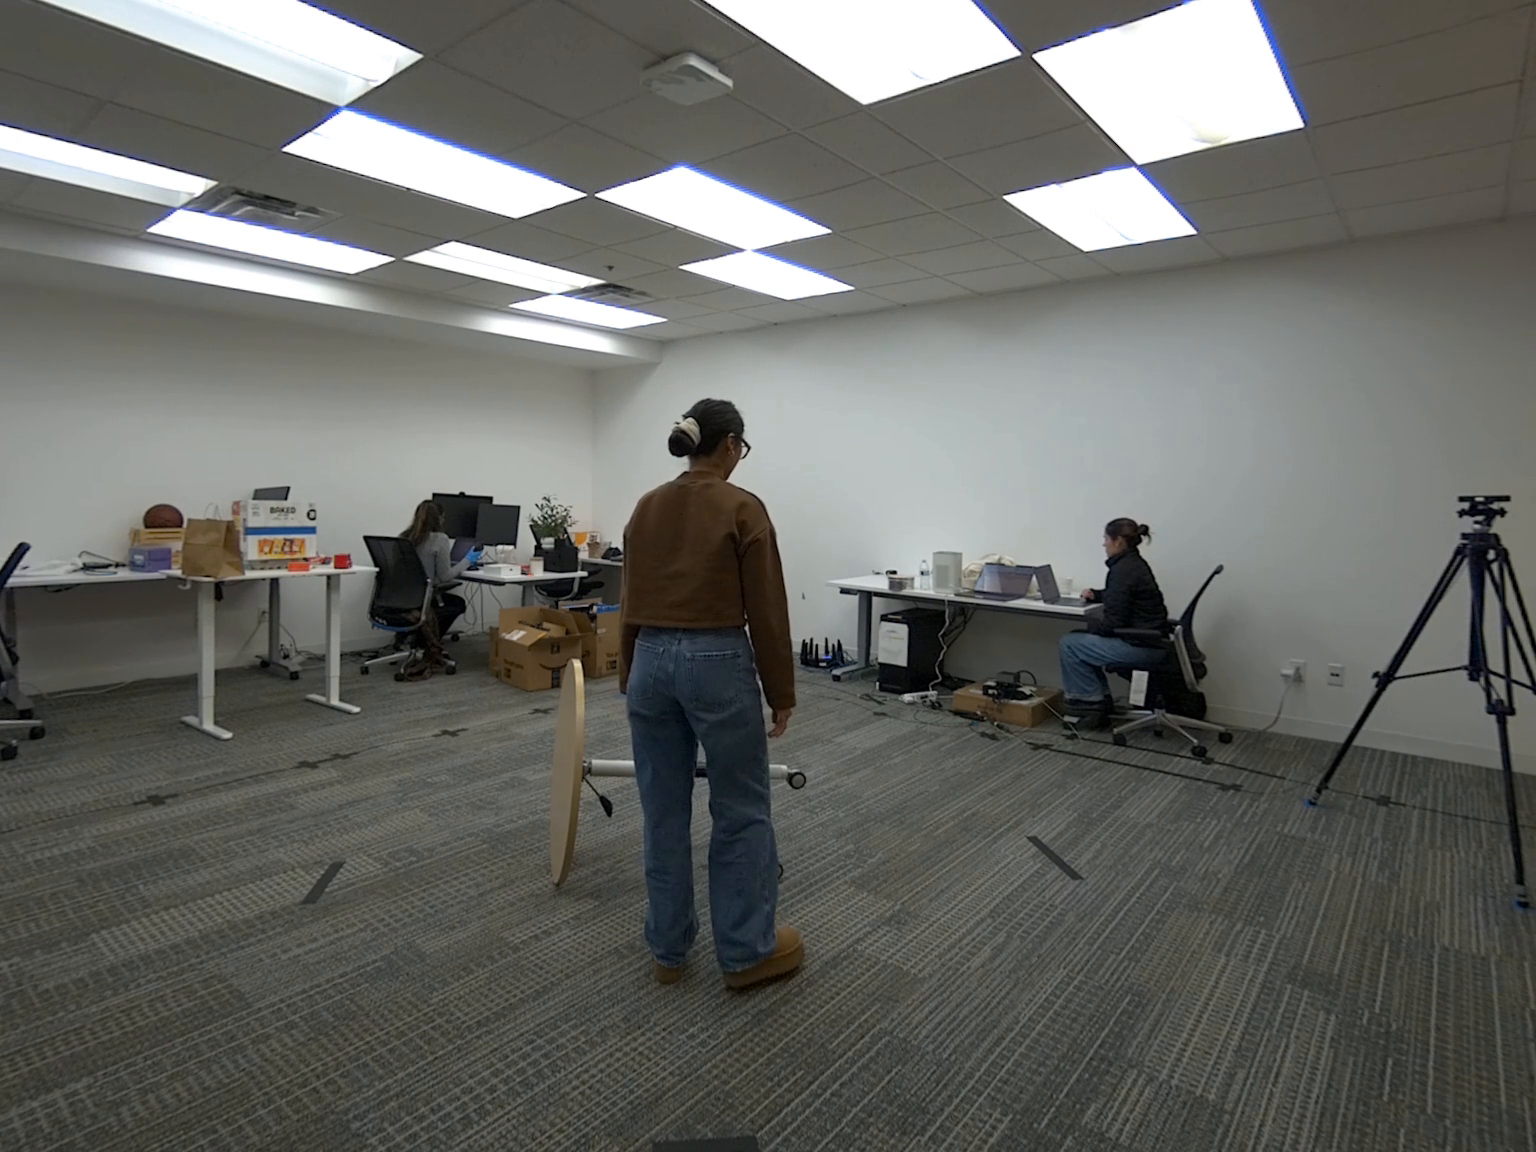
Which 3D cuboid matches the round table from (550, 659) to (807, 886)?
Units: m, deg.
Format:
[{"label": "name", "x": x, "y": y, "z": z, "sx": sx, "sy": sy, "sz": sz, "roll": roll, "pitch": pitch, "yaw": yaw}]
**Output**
[{"label": "round table", "x": -0.367, "y": 0.721, "z": 3.126, "sx": 0.781, "sy": 0.763, "sz": 0.779, "roll": 5, "pitch": 3, "yaw": -16}]
